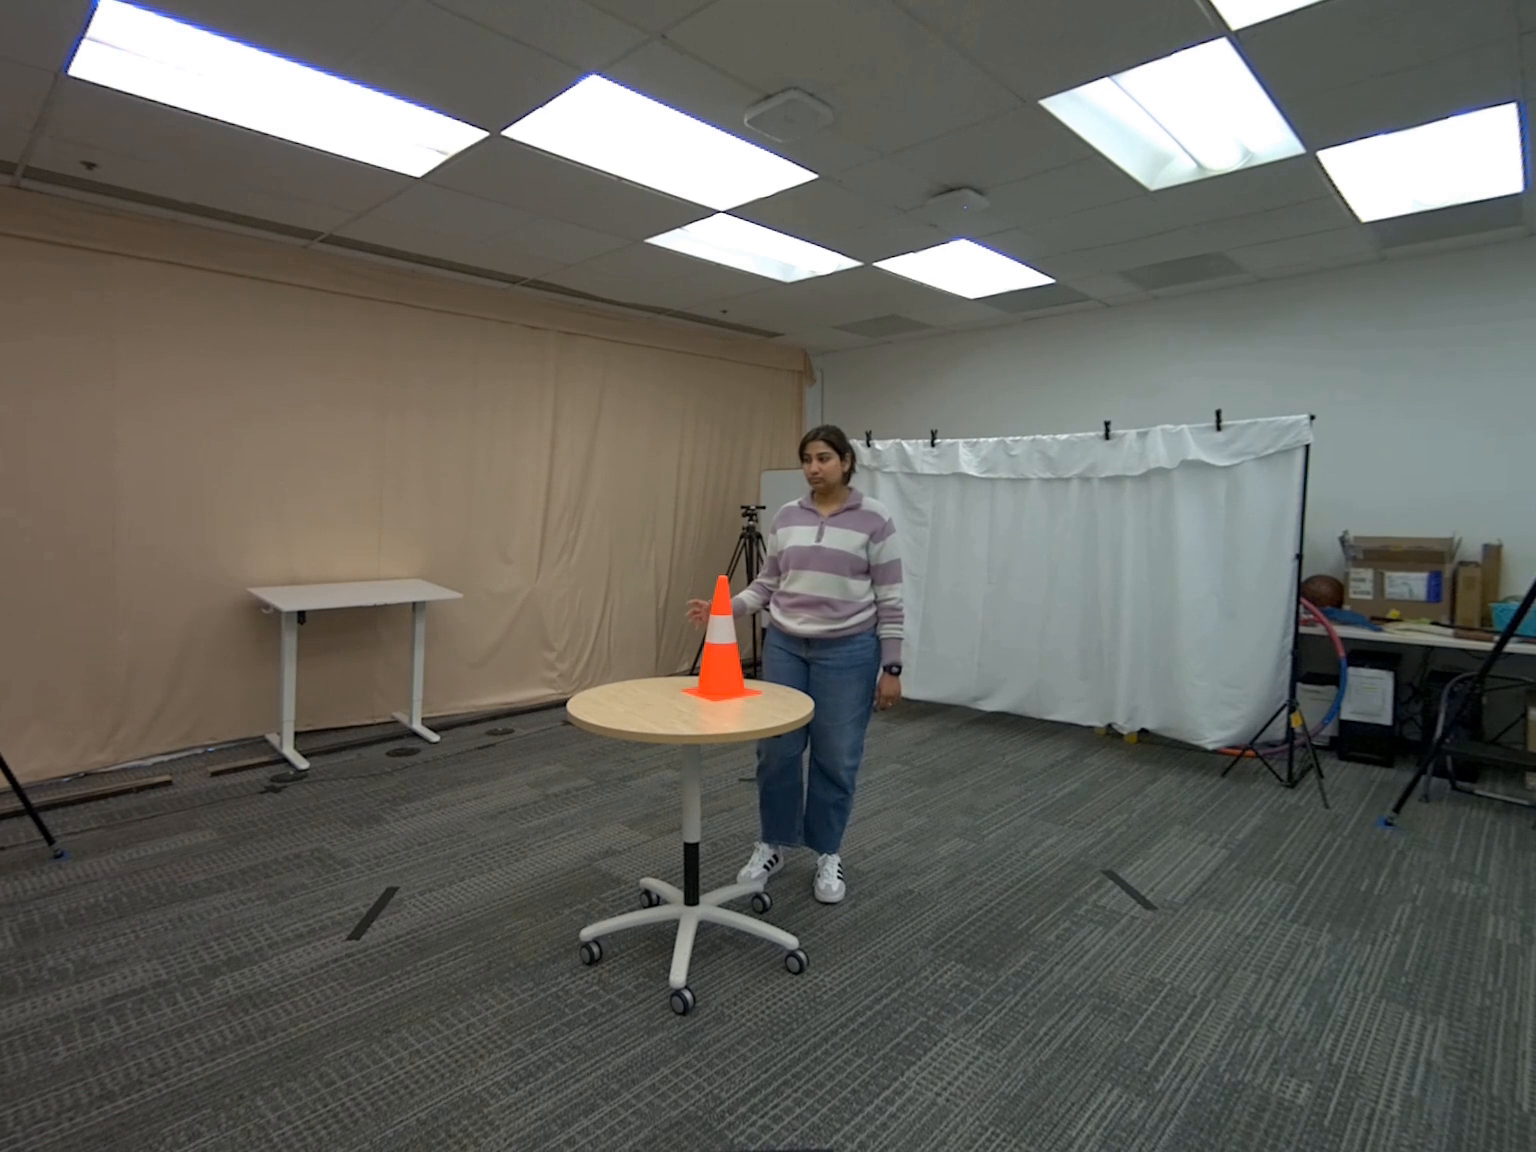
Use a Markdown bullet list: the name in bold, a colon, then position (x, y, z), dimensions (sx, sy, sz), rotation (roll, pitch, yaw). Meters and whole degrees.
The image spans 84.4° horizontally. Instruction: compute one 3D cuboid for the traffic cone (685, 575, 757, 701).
- **traffic cone**: position (-0.152, 0.195, 2.747), dimensions (0.212, 0.383, 0.197), rotation (2, 3, 44)
